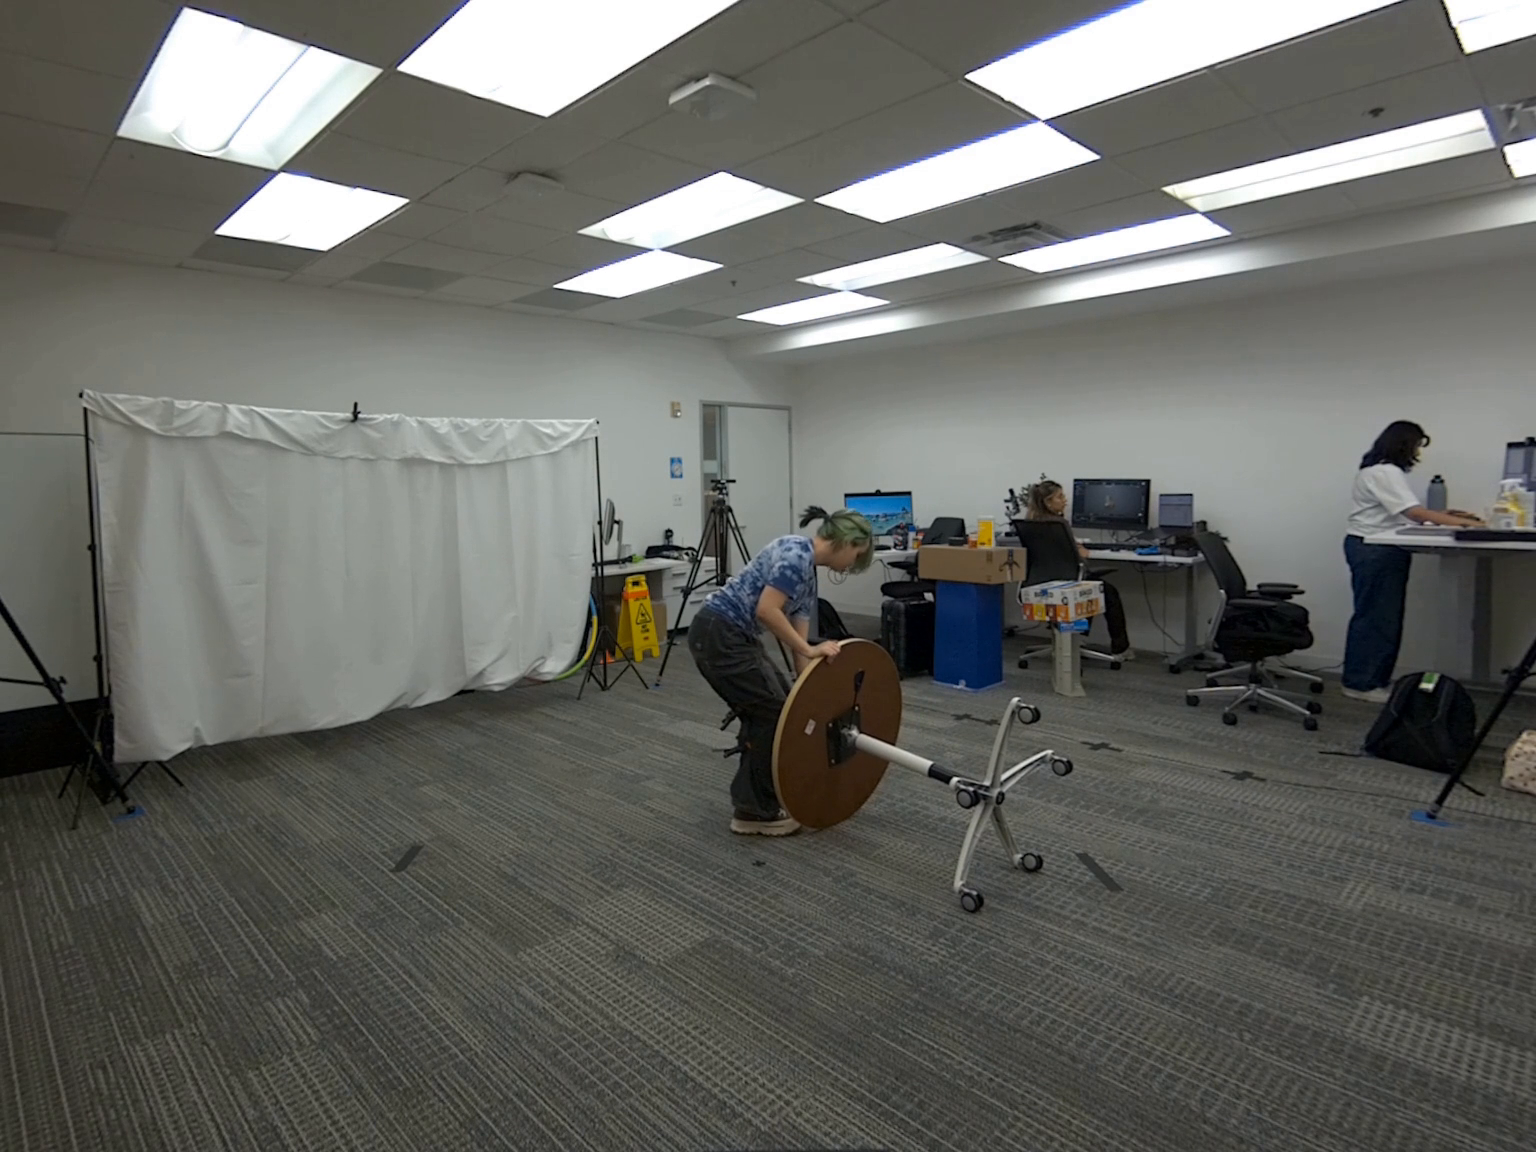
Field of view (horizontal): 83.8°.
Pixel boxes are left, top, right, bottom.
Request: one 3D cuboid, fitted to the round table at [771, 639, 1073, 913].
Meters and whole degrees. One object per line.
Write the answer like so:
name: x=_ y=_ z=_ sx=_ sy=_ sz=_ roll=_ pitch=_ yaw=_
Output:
round table: x=0.565 y=0.695 z=3.119 sx=0.744 sy=0.758 sz=0.822 roll=-5 pitch=14 yaw=-44
